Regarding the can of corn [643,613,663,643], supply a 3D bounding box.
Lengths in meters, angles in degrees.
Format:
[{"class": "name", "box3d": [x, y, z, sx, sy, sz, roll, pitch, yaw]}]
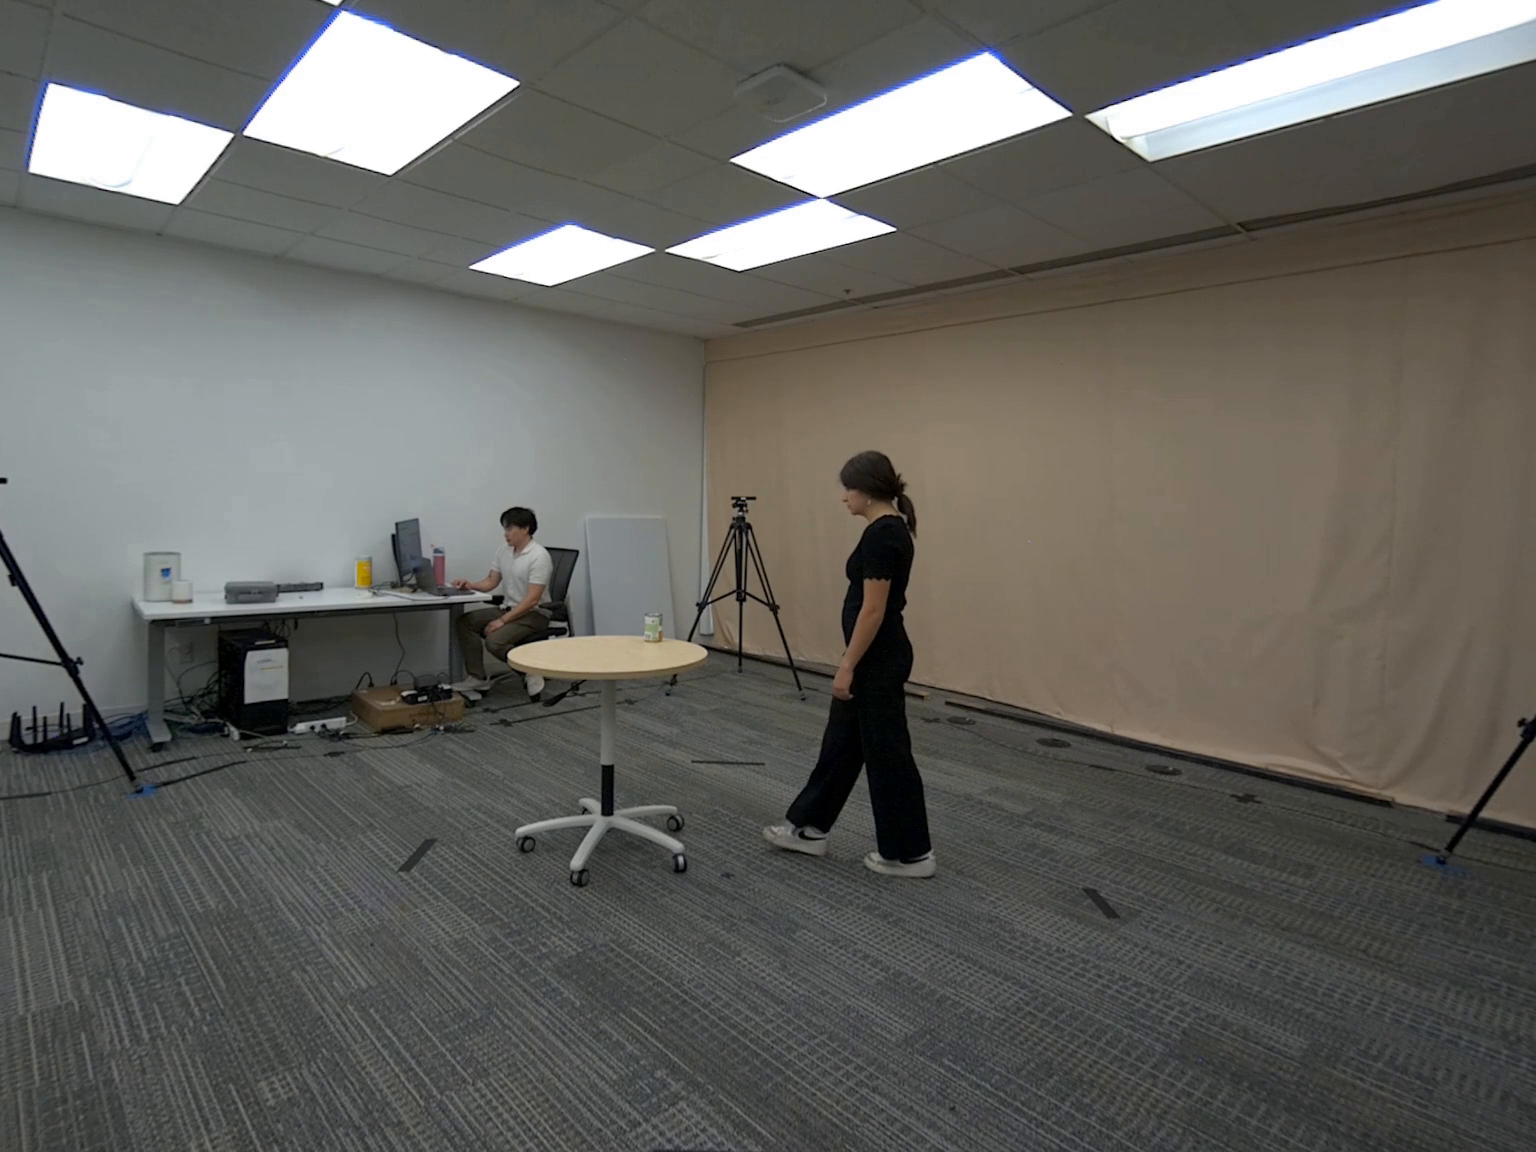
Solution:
[{"class": "can of corn", "box3d": [-0.486, 0.217, 3.521, 0.074, 0.111, 0.074, 0, 0, -1]}]
